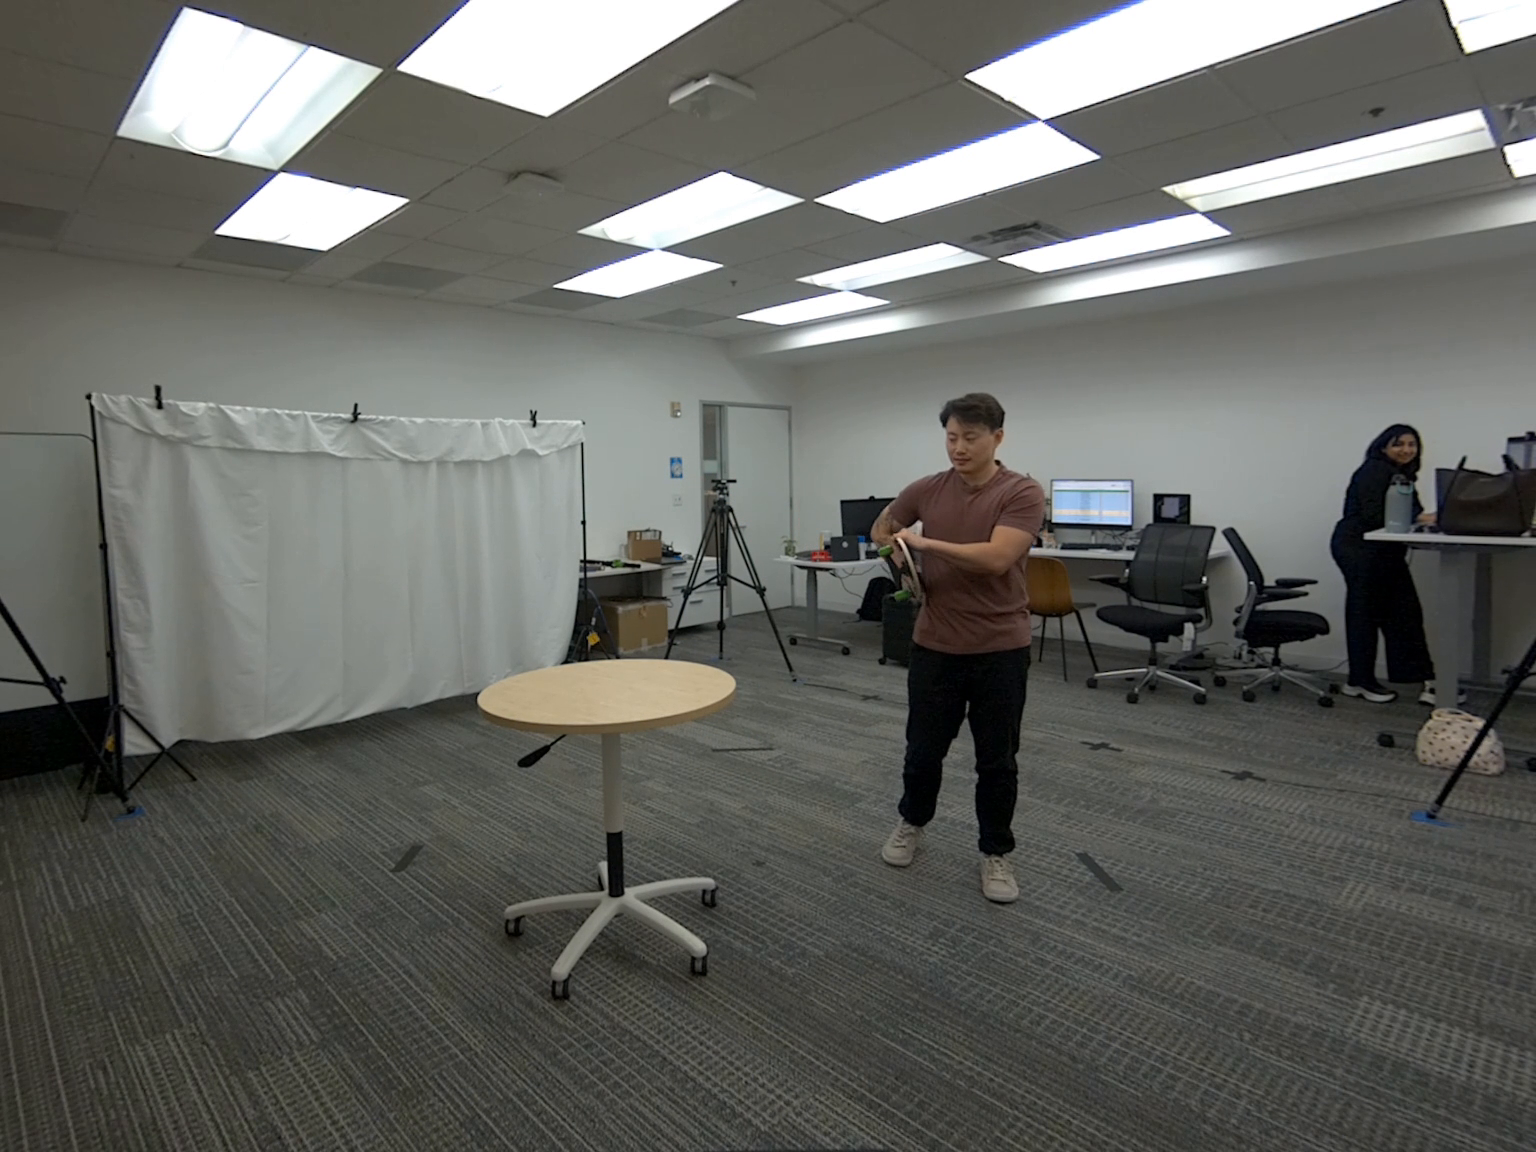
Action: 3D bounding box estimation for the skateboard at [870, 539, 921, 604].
[{"bbox_3d":[0.502,-0.024,3.012,0.111,0.195,0.771,-21,-6,14],"label":"skateboard"}]
